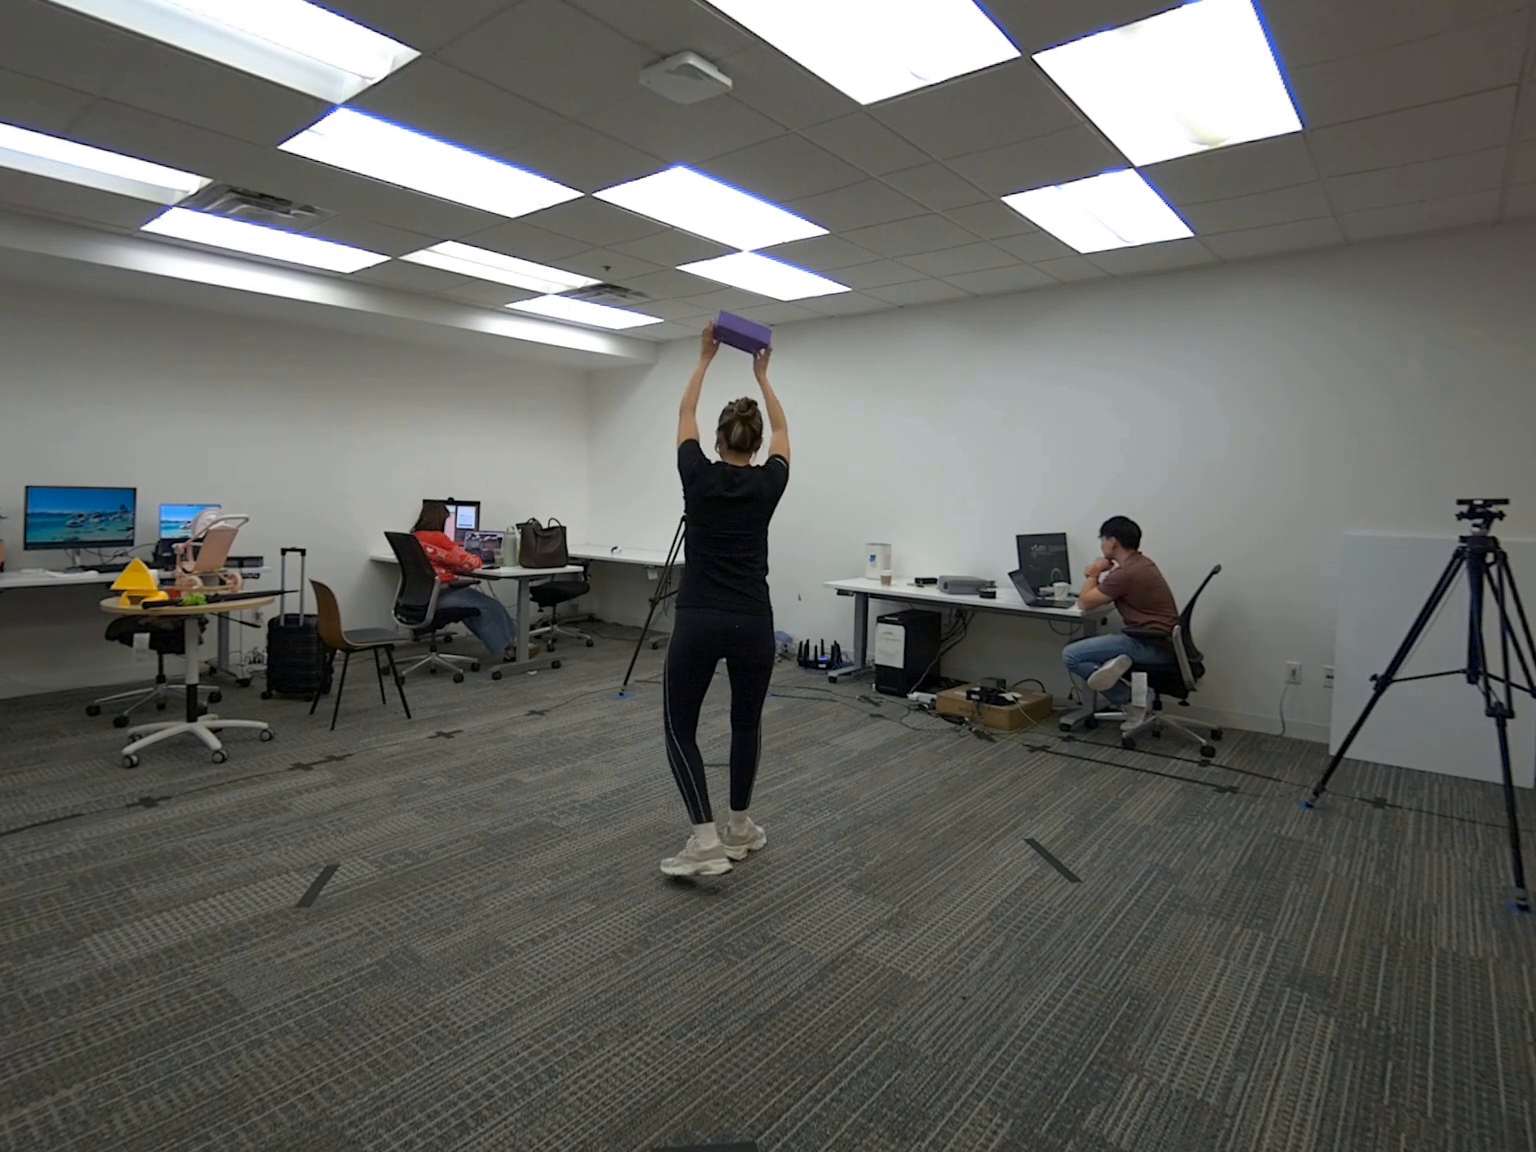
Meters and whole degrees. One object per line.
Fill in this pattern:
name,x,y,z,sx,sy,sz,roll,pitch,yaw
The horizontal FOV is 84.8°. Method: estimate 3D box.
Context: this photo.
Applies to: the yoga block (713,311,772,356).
yoga block,-0.132,-0.973,3.397,0.224,0.077,0.151,17,-10,-20
